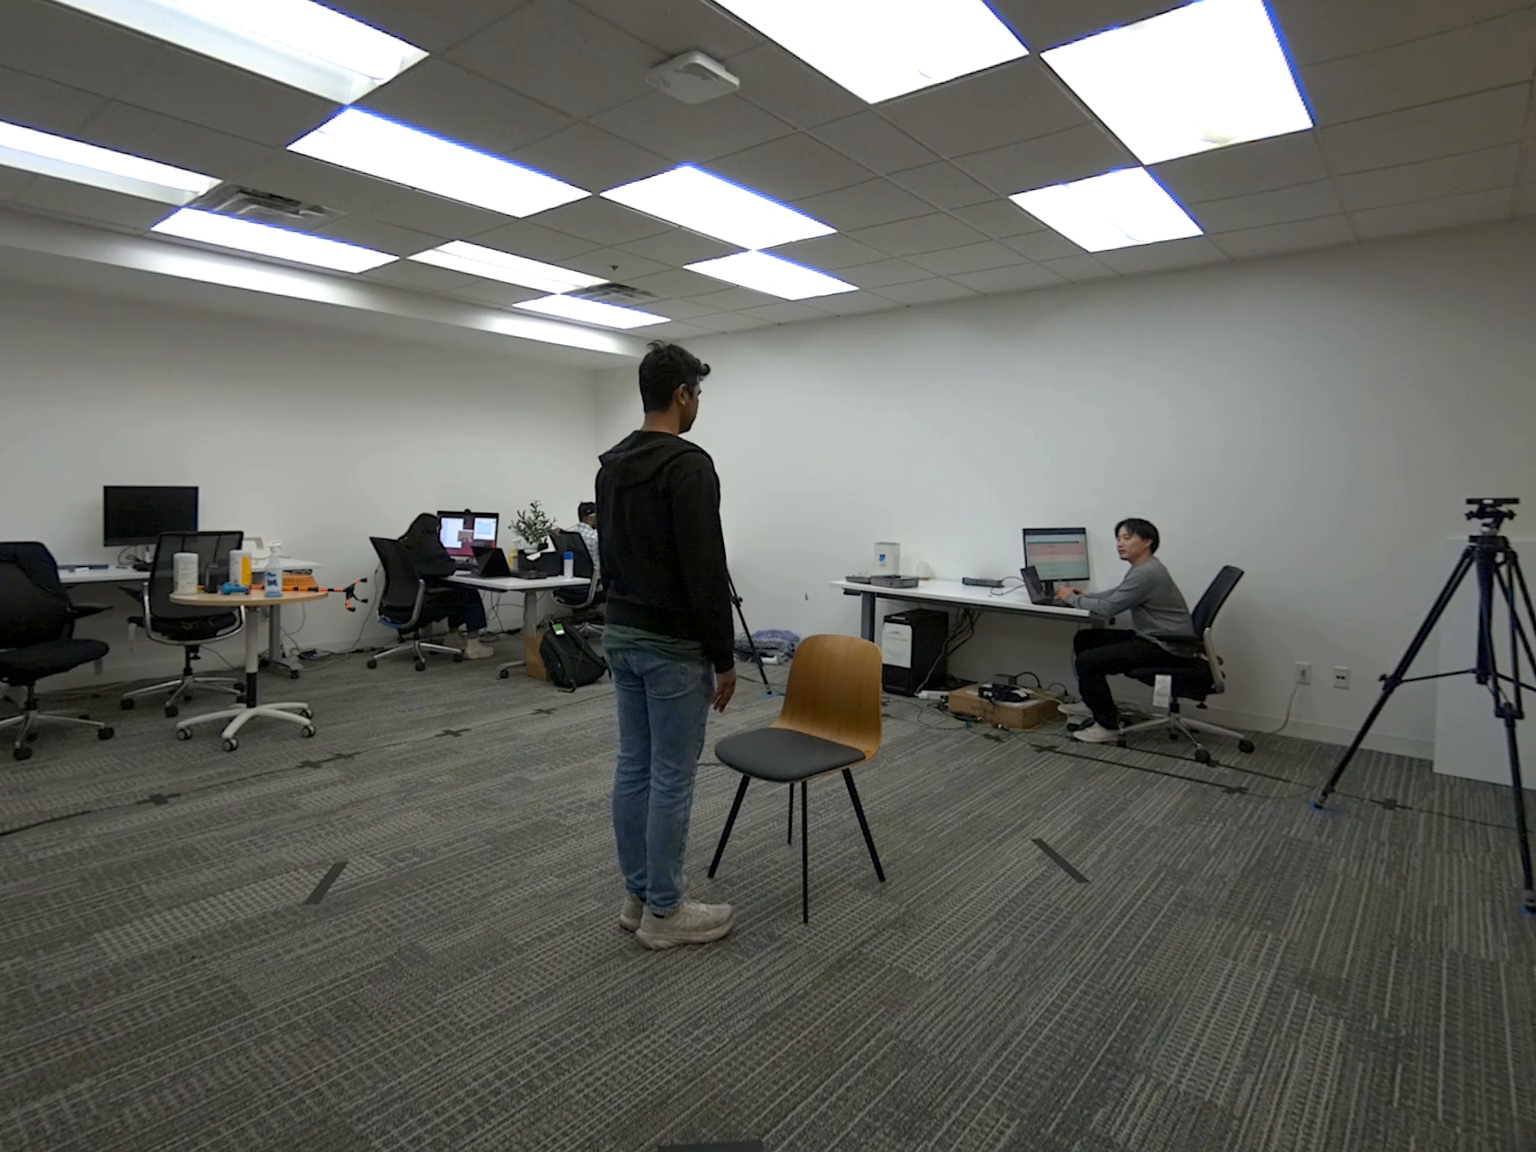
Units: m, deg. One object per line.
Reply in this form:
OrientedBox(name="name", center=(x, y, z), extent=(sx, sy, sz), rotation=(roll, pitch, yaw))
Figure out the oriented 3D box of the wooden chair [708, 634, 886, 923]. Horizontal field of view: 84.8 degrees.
OrientedBox(name="wooden chair", center=(0.100, 0.657, 3.011), extent=(0.494, 0.877, 0.506), rotation=(5, 1, 43))
